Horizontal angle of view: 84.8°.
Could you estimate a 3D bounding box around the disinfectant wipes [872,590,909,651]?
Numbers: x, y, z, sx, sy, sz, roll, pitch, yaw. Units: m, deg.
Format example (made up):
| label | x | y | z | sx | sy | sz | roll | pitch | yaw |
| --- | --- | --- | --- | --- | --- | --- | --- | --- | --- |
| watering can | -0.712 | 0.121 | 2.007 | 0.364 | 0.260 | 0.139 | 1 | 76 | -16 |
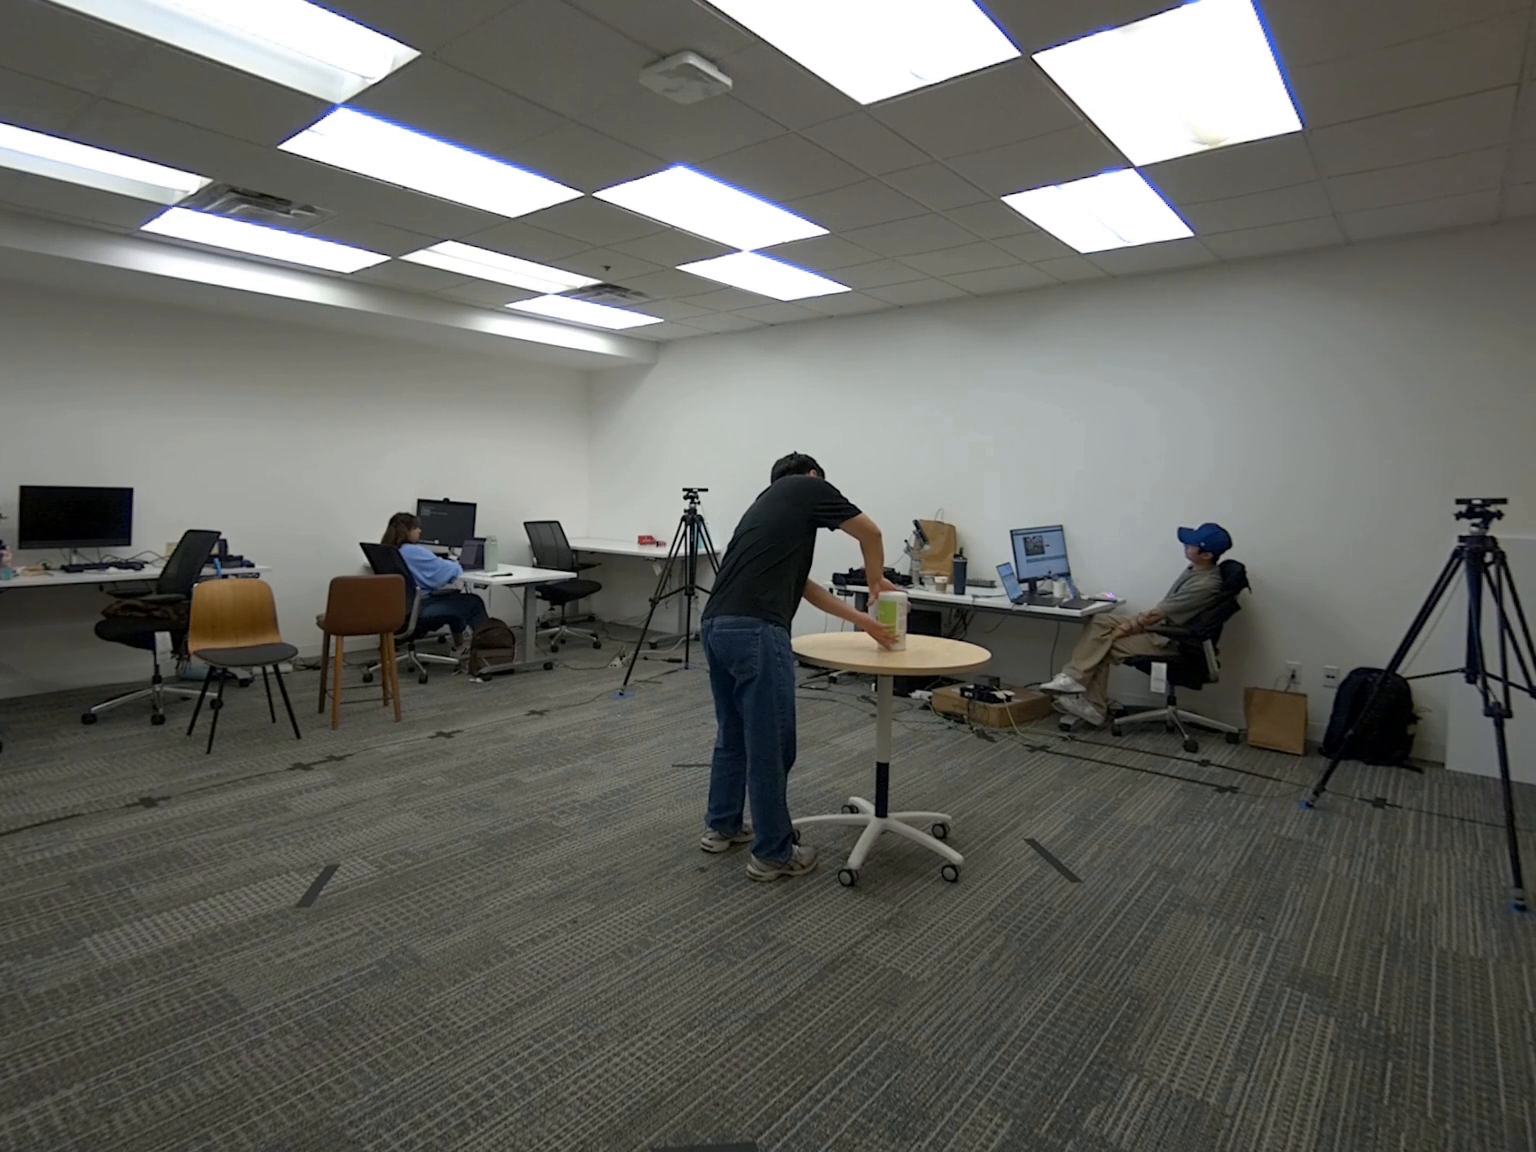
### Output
| label | x | y | z | sx | sy | sz | roll | pitch | yaw |
| --- | --- | --- | --- | --- | --- | --- | --- | --- | --- |
| disinfectant wipes | 0.466 | 0.169 | 3.243 | 0.117 | 0.217 | 0.118 | 1 | 4 | -2 |
